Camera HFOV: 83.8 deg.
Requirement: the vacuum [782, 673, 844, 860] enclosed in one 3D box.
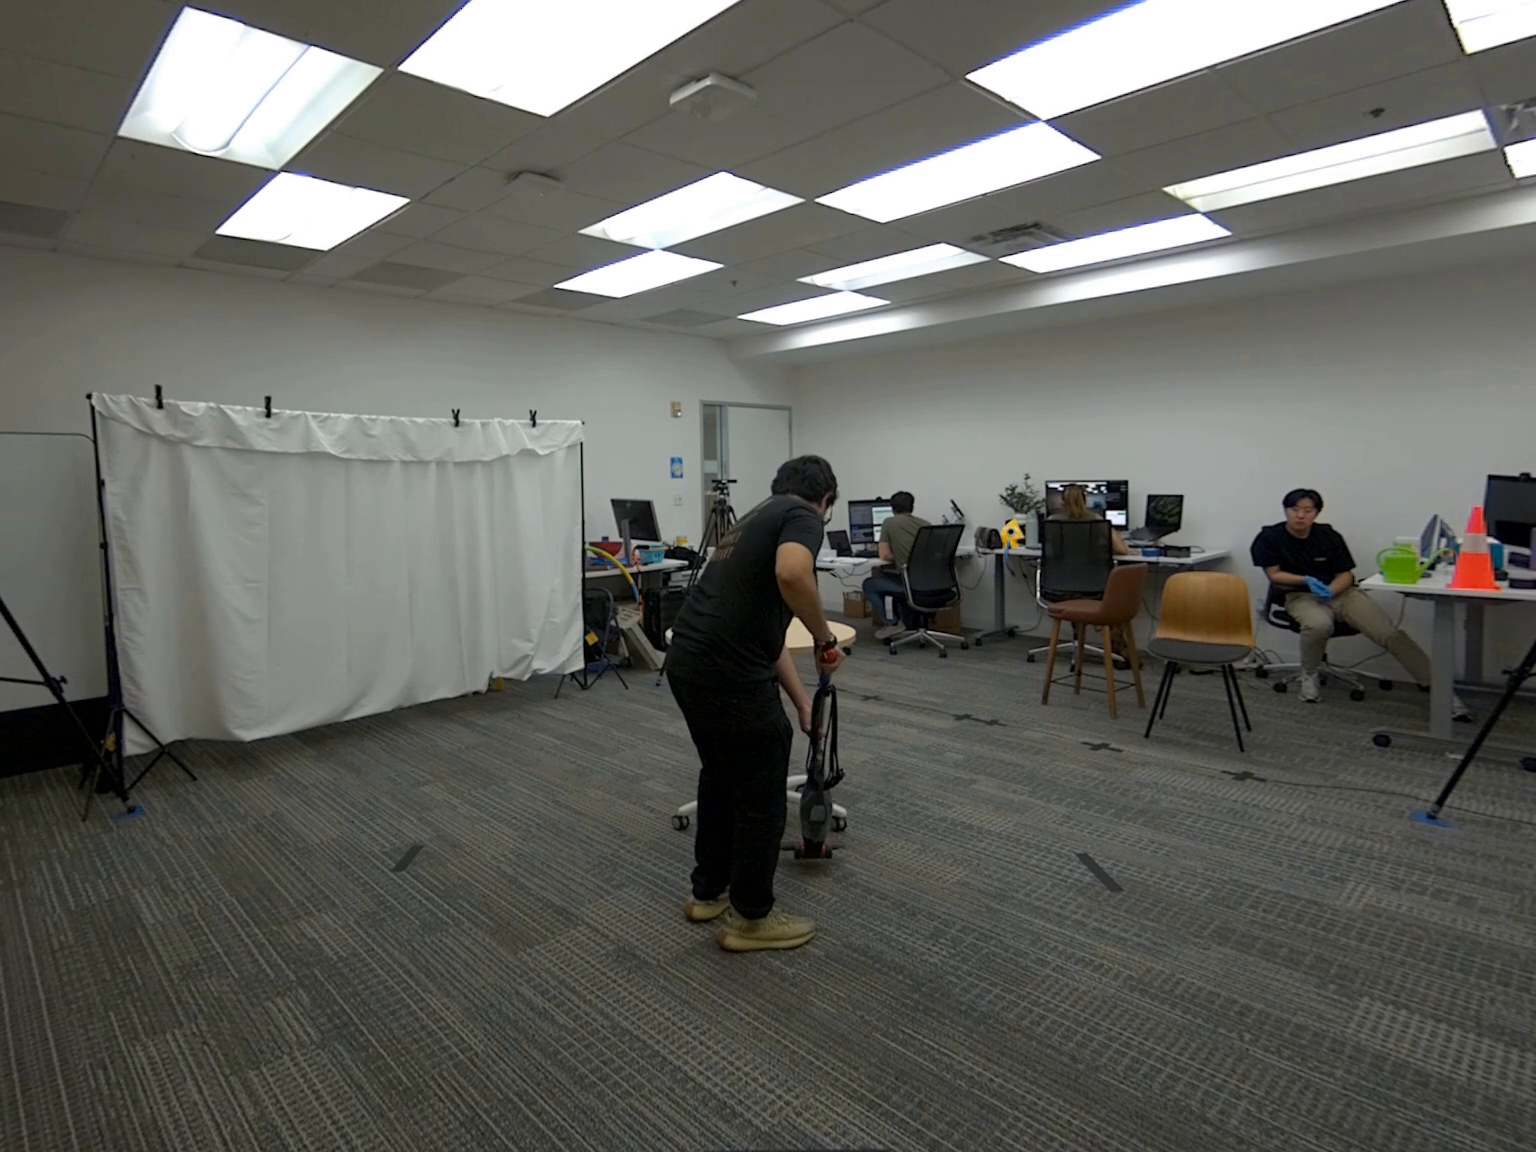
[{"bbox_3d":[0.178,0.598,2.747,0.253,1.022,0.147,3,40,0],"label":"vacuum"}]
